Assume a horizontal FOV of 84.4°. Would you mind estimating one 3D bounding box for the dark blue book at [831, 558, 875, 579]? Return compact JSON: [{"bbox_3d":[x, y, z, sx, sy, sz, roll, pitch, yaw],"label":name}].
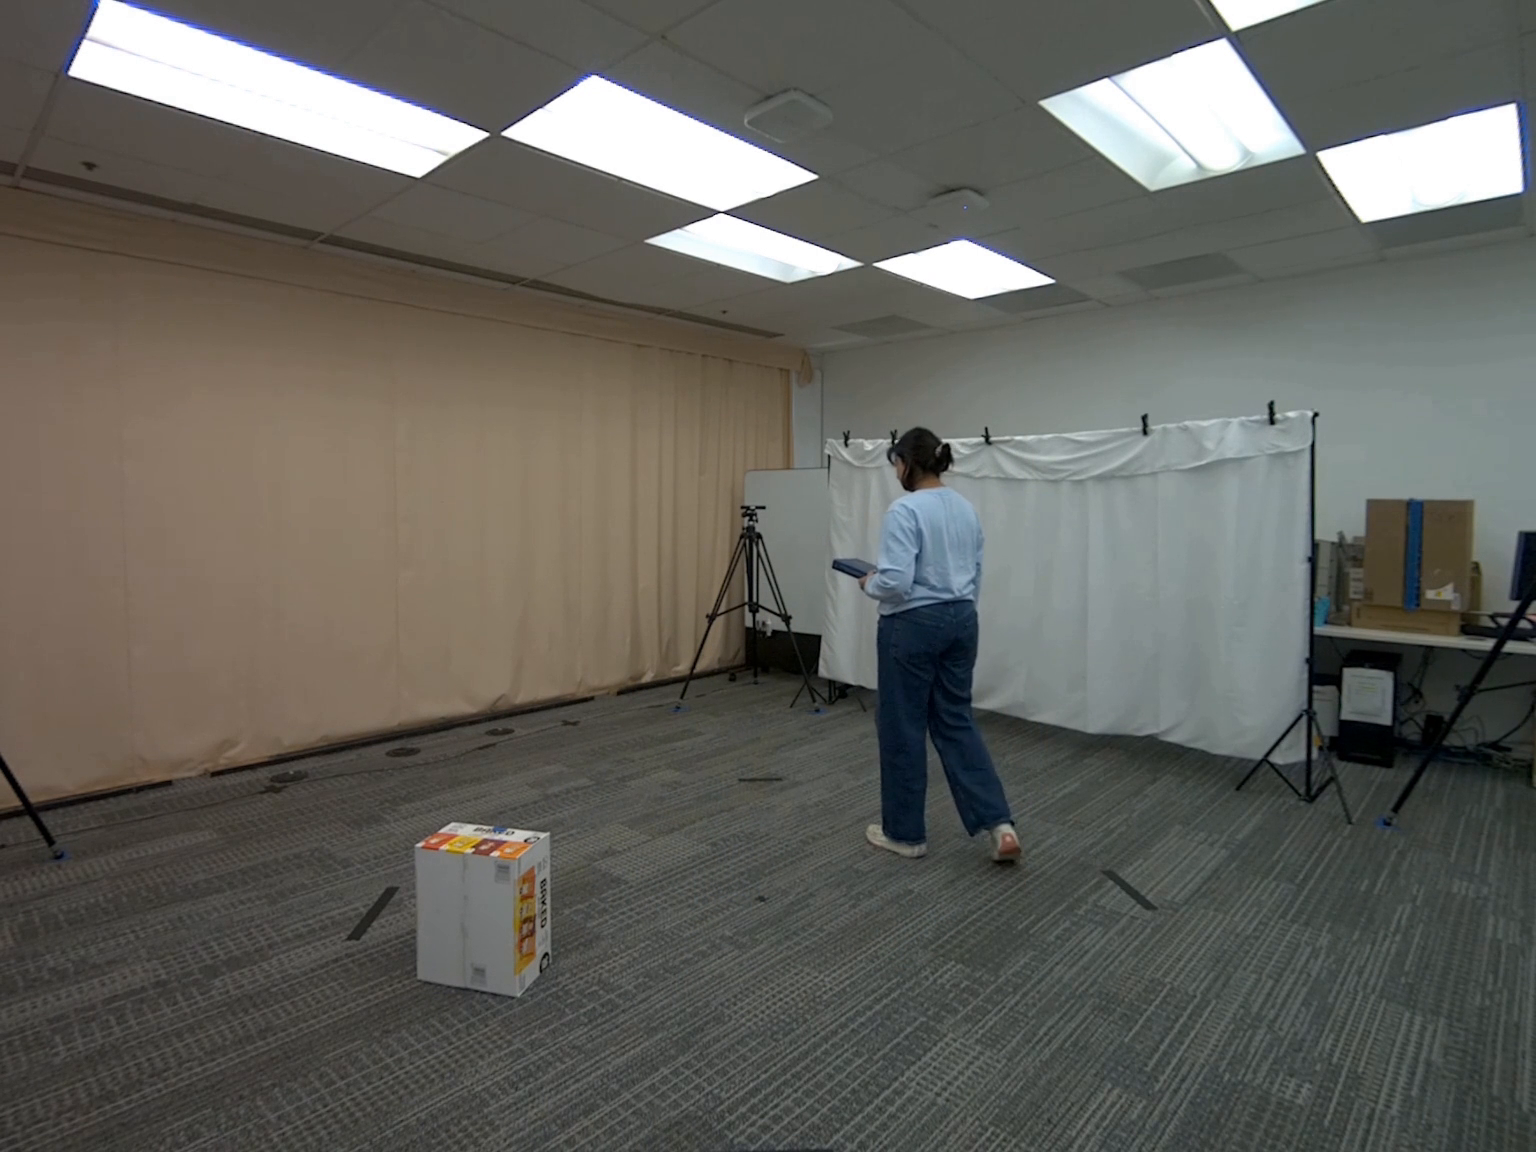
[{"bbox_3d":[0.429,-0.014,3.548,0.254,0.045,0.158,21,16,41],"label":"dark blue book"}]
